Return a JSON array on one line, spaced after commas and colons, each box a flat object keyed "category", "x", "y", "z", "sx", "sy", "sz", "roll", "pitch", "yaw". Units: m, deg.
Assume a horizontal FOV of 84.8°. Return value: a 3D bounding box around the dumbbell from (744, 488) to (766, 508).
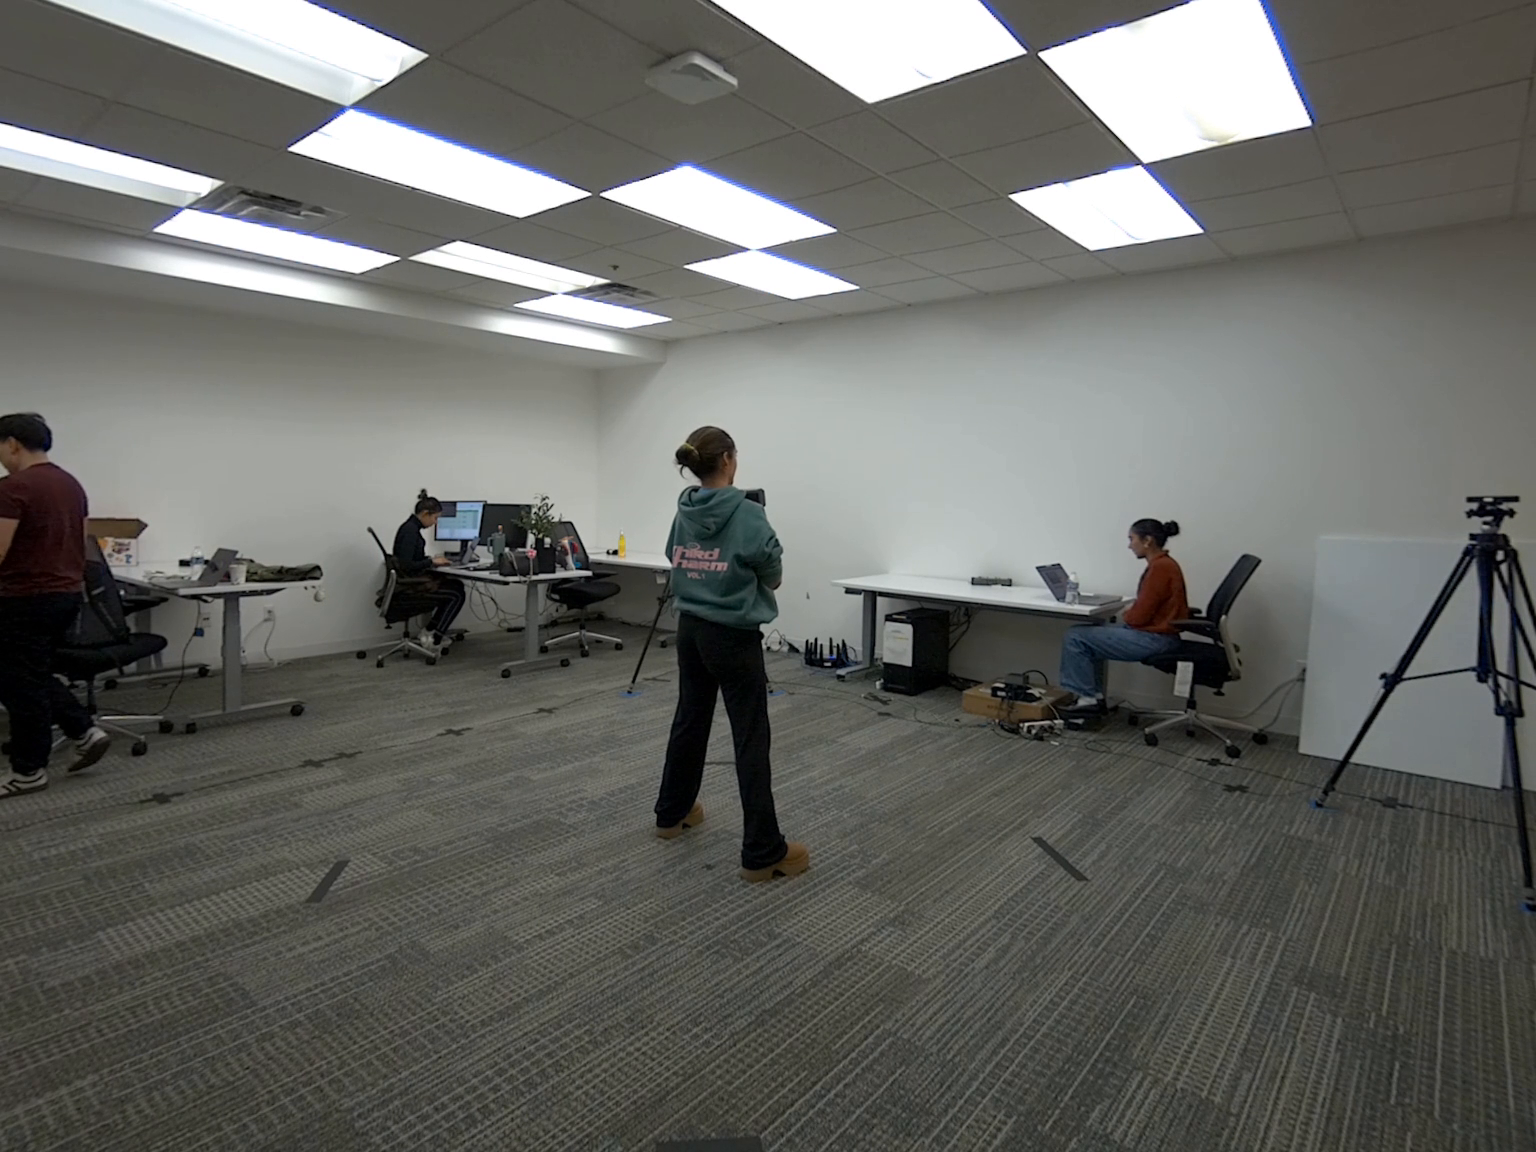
[{"category": "dumbbell", "x": -0.069, "y": -0.189, "z": 3.322, "sx": 0.122, "sy": 0.291, "sz": 0.110, "roll": -4, "pitch": 9, "yaw": -7}]
